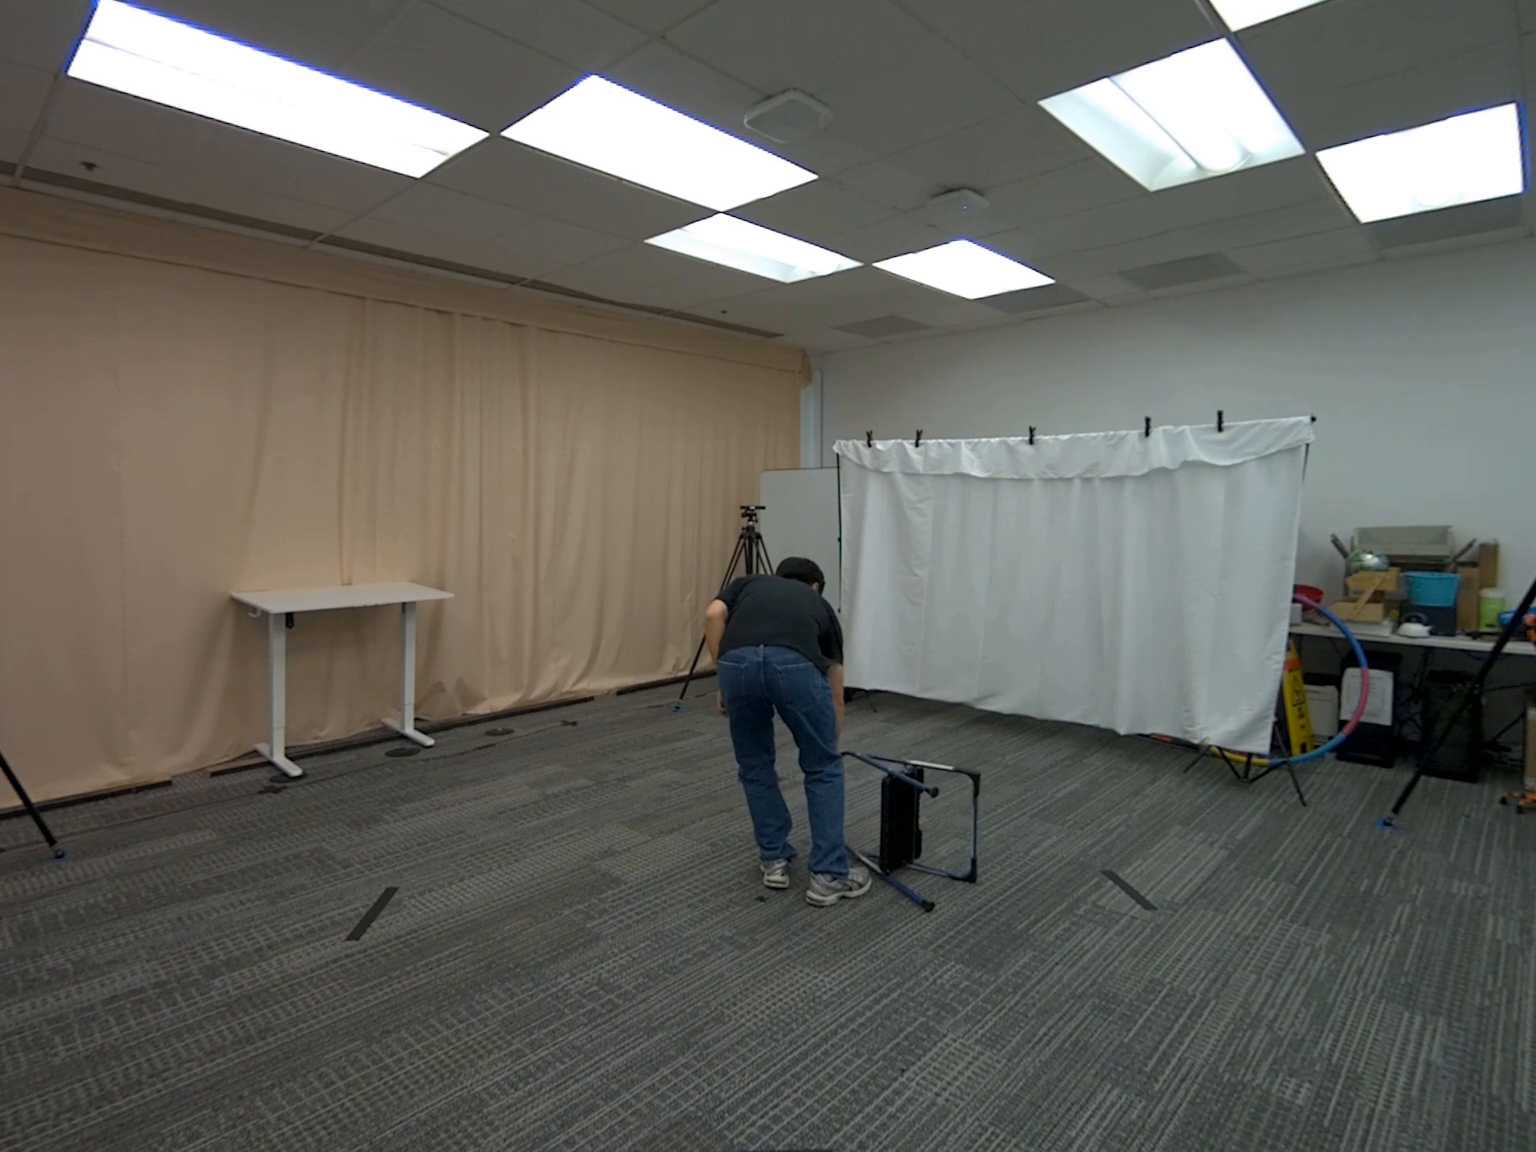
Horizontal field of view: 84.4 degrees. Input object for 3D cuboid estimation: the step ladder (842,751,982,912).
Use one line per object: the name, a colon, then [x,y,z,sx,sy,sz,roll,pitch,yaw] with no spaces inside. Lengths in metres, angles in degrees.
step ladder: [0.453,0.904,3.188,0.627,0.430,0.338,6,4,43]
